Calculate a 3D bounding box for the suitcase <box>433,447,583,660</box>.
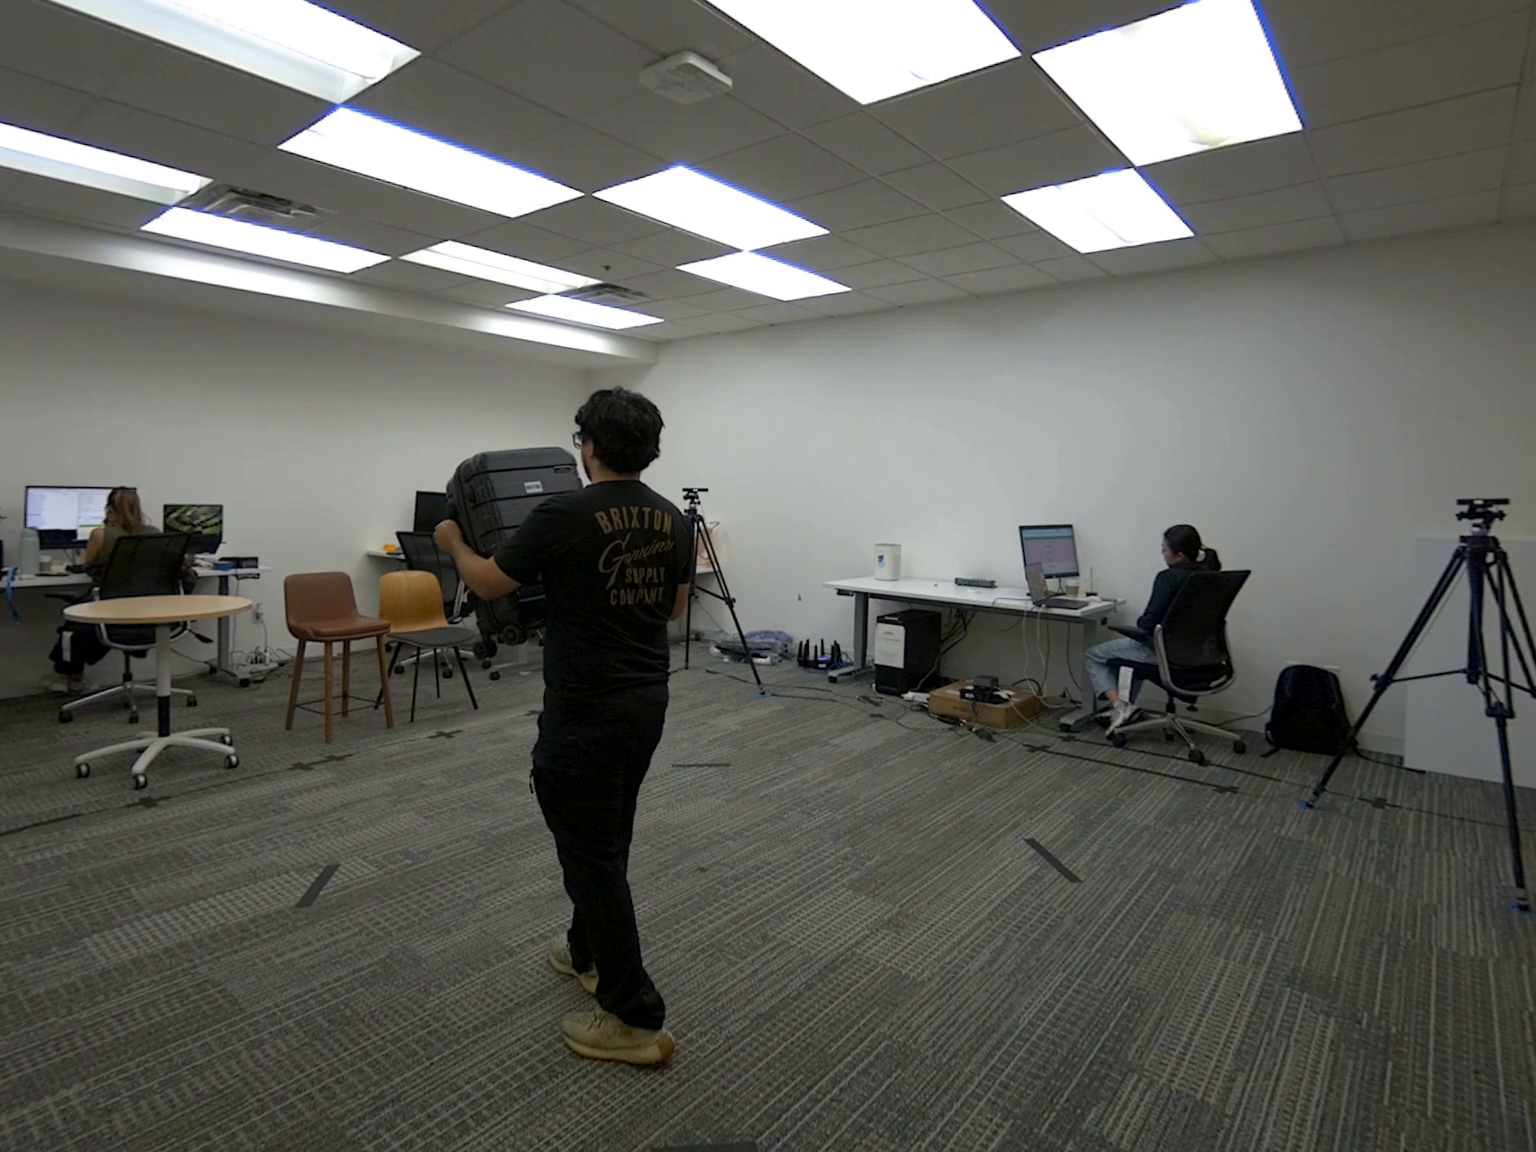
[{"bbox_3d":[-0.688,-0.093,2.425,0.365,0.555,0.252,-9,-10,-43],"label":"suitcase"}]
